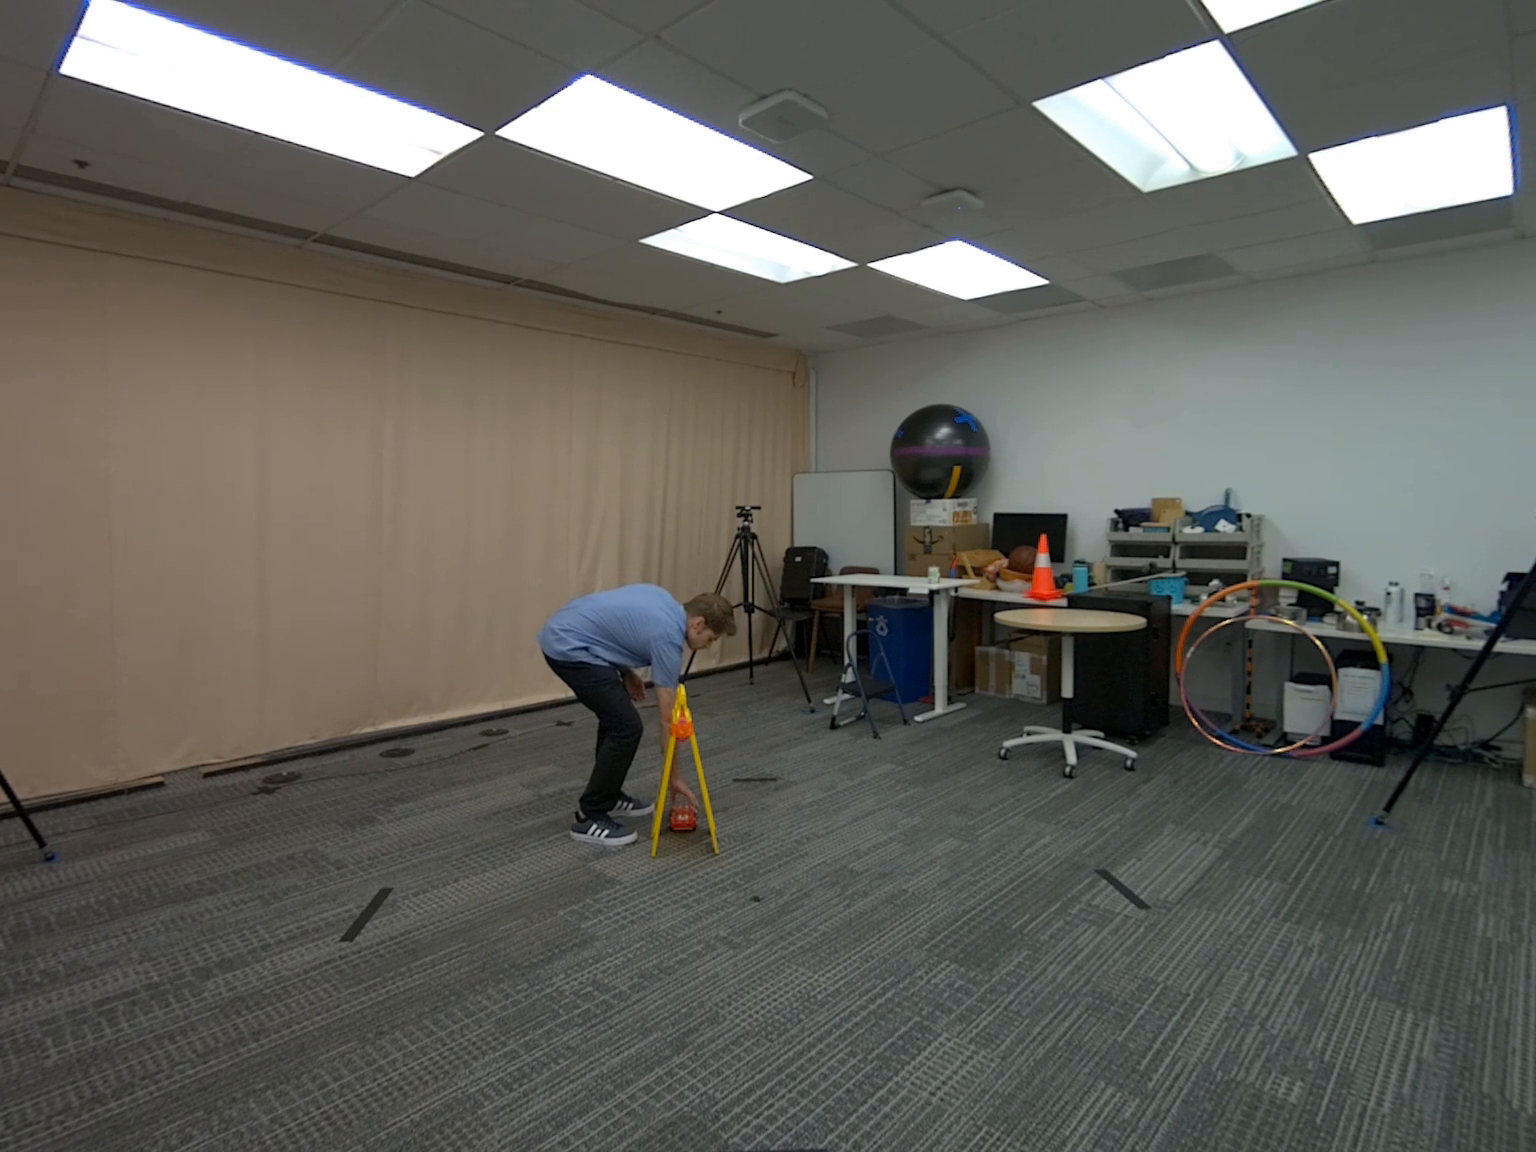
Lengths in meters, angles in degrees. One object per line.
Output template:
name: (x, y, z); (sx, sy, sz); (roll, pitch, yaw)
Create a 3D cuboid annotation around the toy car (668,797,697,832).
toy car: (-0.376, 1.061, 3.682); (0.130, 0.083, 0.254); (1, -5, -4)
